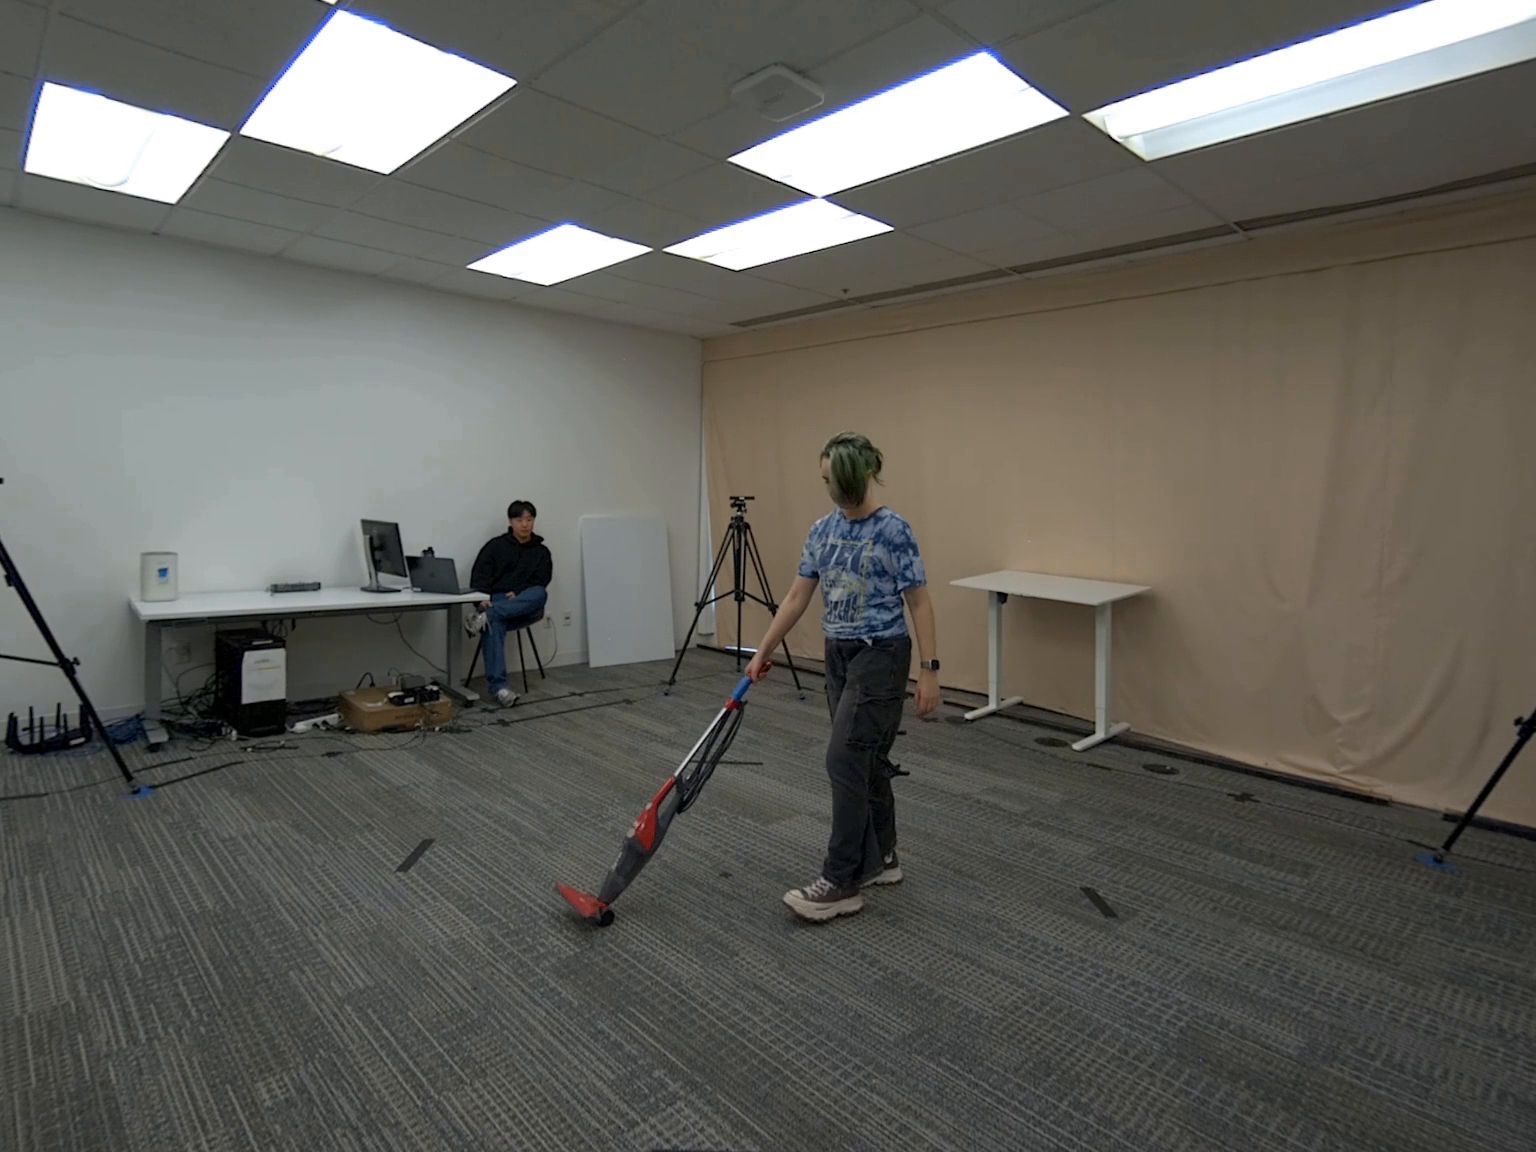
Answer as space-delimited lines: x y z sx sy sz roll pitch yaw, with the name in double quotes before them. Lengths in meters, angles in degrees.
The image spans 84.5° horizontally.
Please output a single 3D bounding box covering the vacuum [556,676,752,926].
"vacuum" -0.296 0.718 2.929 0.259 1.050 0.140 11 -35 49
